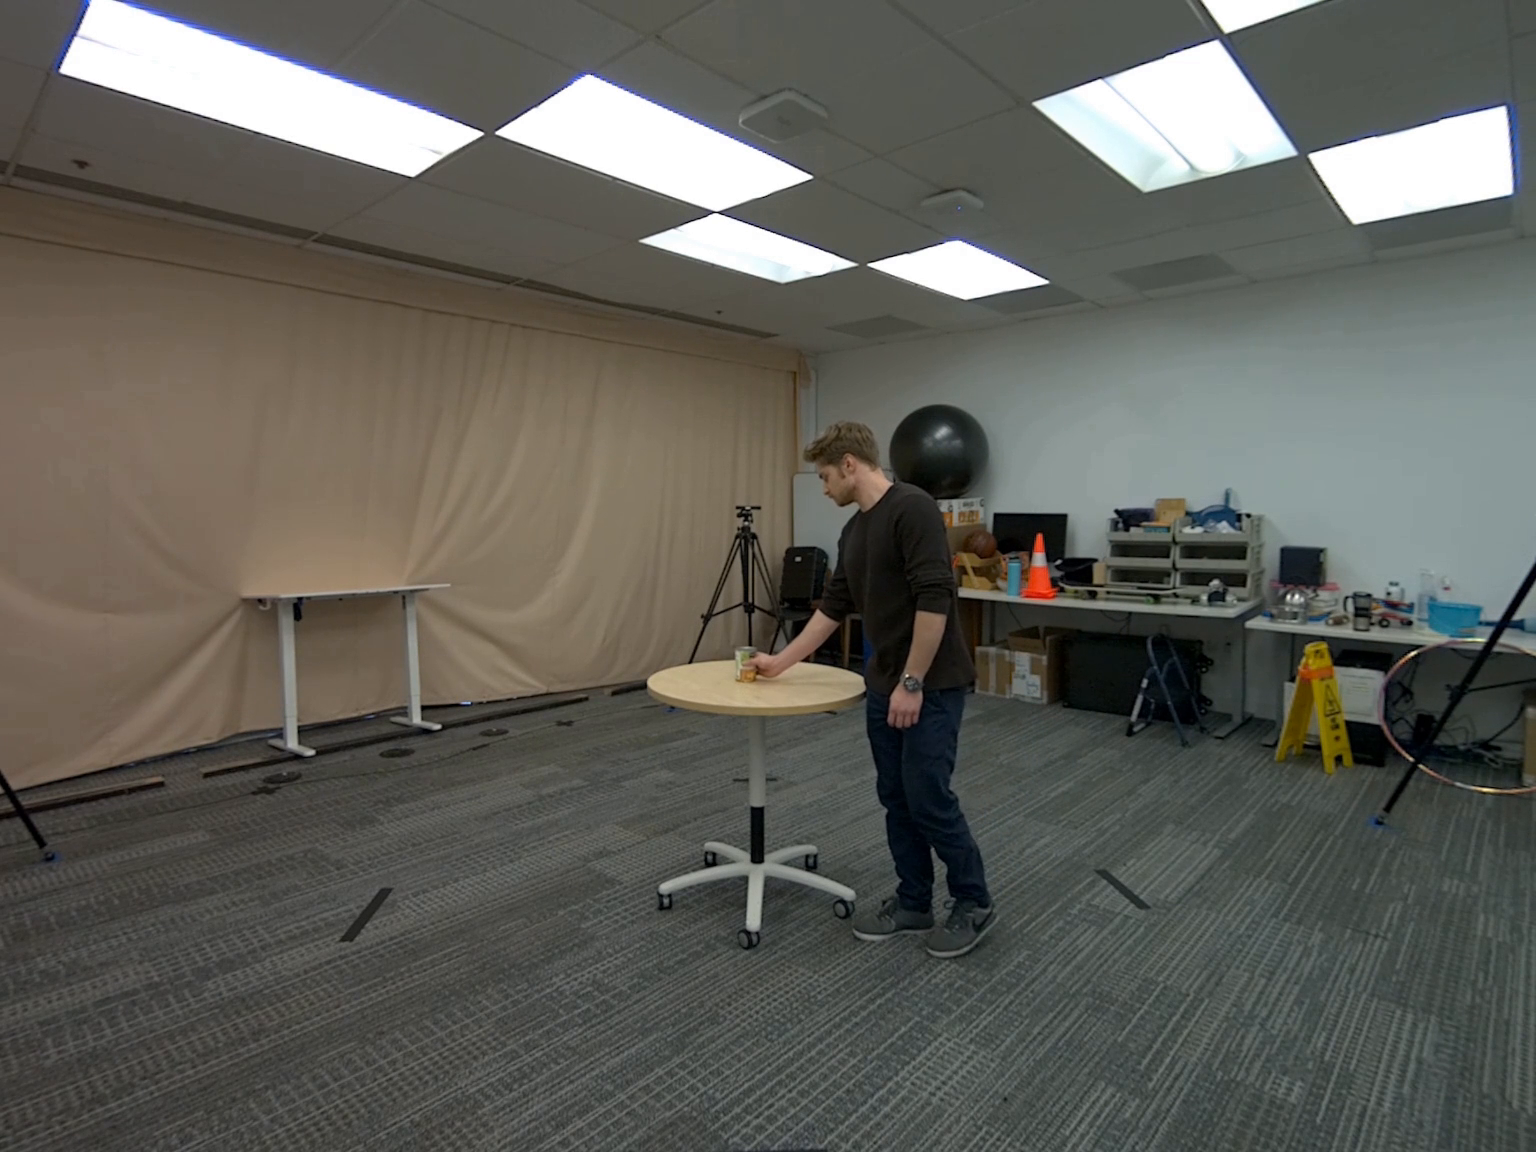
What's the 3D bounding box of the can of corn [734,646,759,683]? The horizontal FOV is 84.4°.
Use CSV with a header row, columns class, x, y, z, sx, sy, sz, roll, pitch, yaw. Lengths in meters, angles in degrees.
class,x,y,z,sx,sy,sz,roll,pitch,yaw
can of corn,-0.069,0.313,2.940,0.074,0.111,0.074,2,0,-2
